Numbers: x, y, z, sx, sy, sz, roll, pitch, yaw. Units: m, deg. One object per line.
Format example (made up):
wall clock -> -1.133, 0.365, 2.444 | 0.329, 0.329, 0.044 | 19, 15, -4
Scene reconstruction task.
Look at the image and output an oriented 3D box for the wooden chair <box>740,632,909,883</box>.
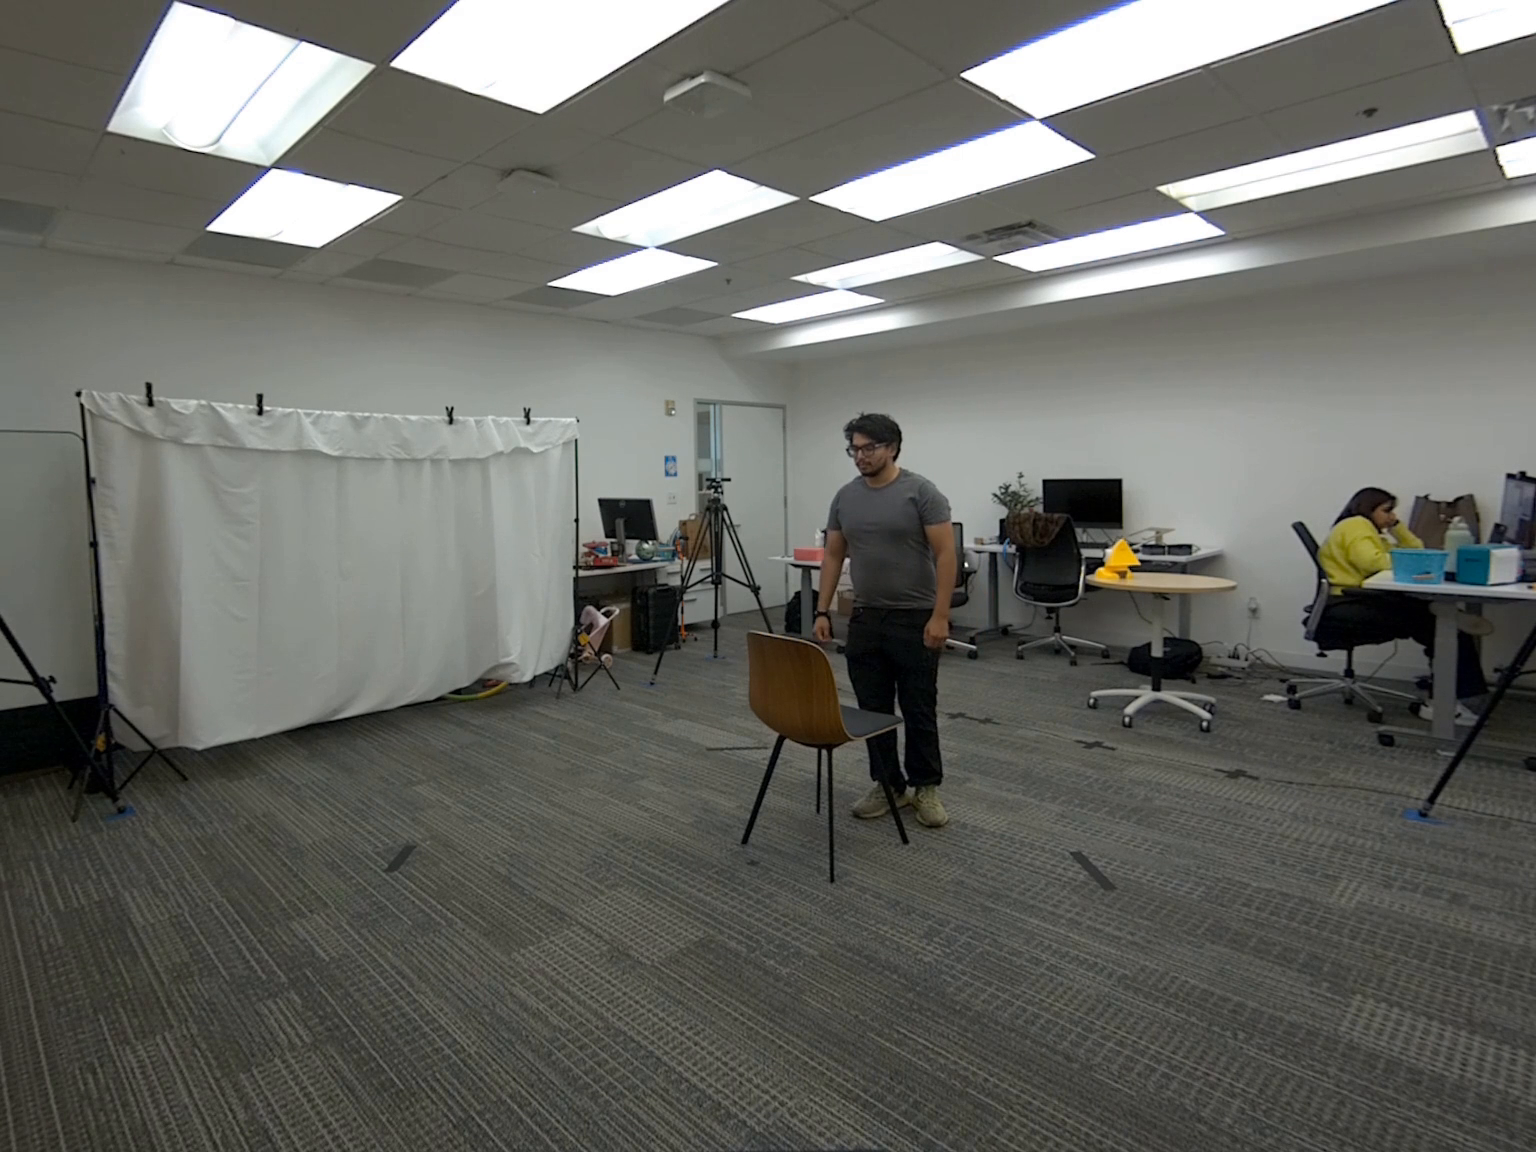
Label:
wooden chair -> 0.214, 0.598, 3.226 | 0.493, 0.871, 0.511 | 4, 10, 45
